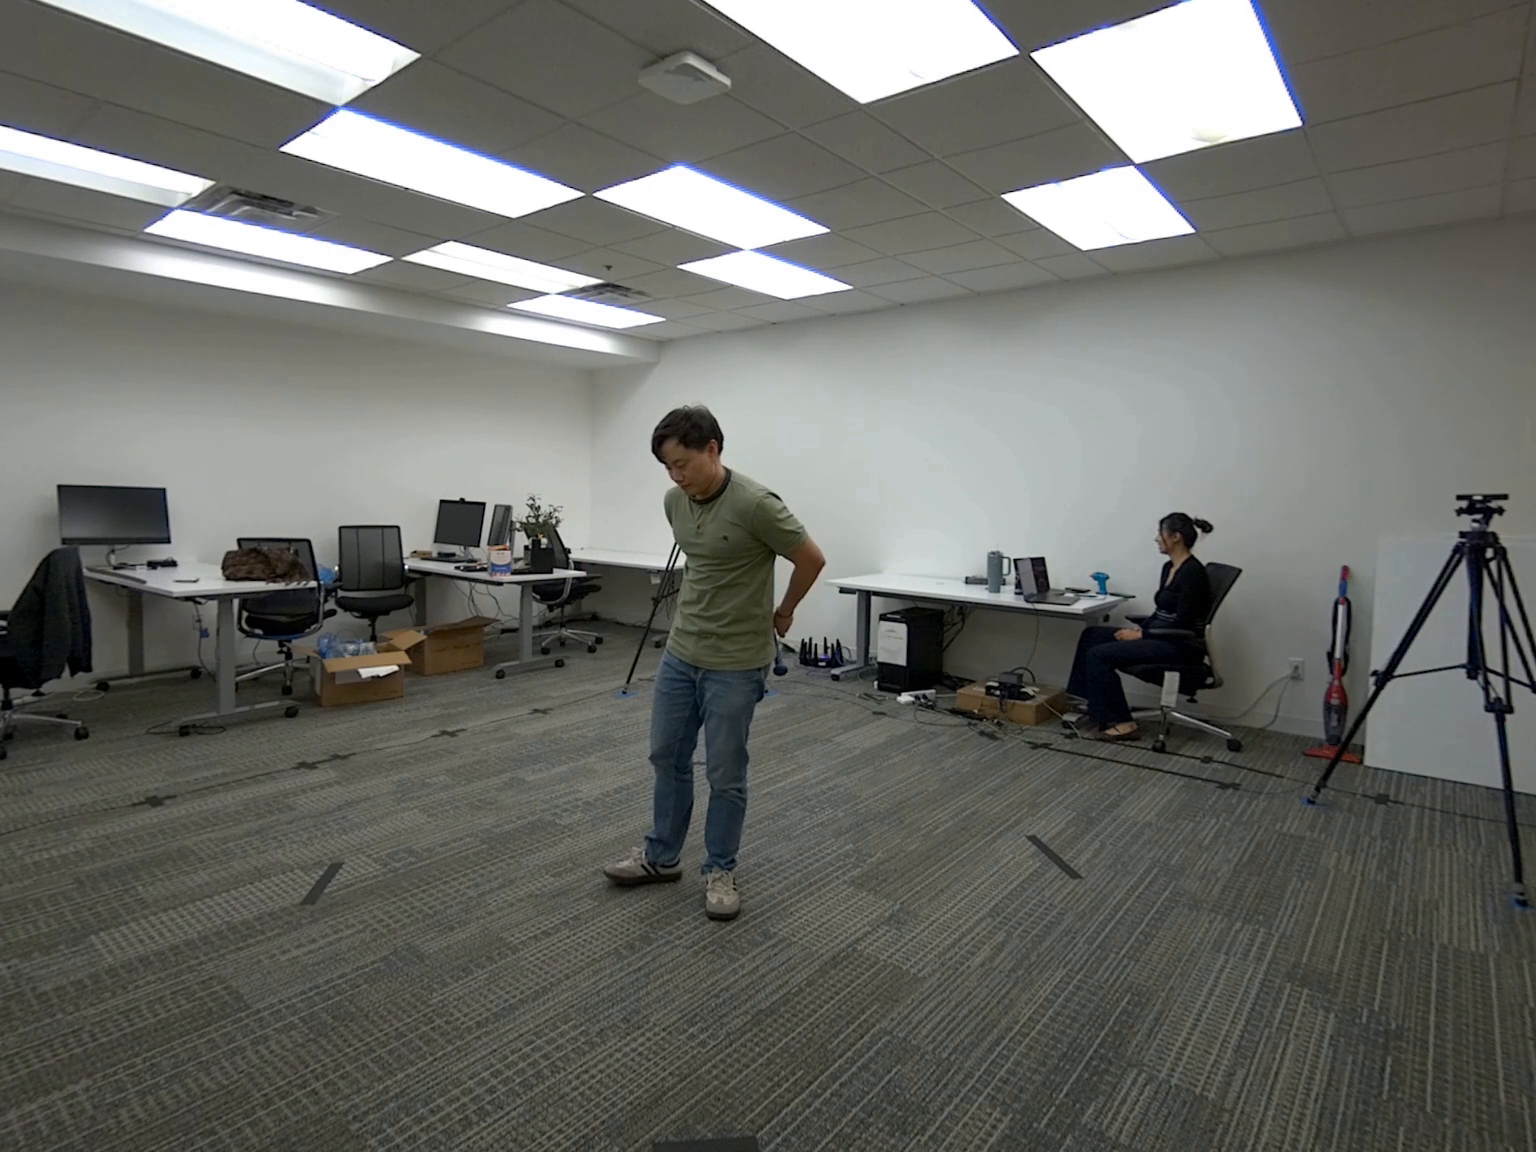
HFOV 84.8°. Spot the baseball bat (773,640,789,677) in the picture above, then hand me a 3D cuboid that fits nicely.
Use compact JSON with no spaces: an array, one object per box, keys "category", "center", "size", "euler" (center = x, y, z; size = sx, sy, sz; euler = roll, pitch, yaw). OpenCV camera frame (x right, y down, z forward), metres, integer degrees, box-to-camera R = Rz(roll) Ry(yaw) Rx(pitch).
[{"category":"baseball bat","center":[-0.018,0.121,3.029],"size":[0.088,0.562,0.086],"euler":[-8,-38,-8]}]
